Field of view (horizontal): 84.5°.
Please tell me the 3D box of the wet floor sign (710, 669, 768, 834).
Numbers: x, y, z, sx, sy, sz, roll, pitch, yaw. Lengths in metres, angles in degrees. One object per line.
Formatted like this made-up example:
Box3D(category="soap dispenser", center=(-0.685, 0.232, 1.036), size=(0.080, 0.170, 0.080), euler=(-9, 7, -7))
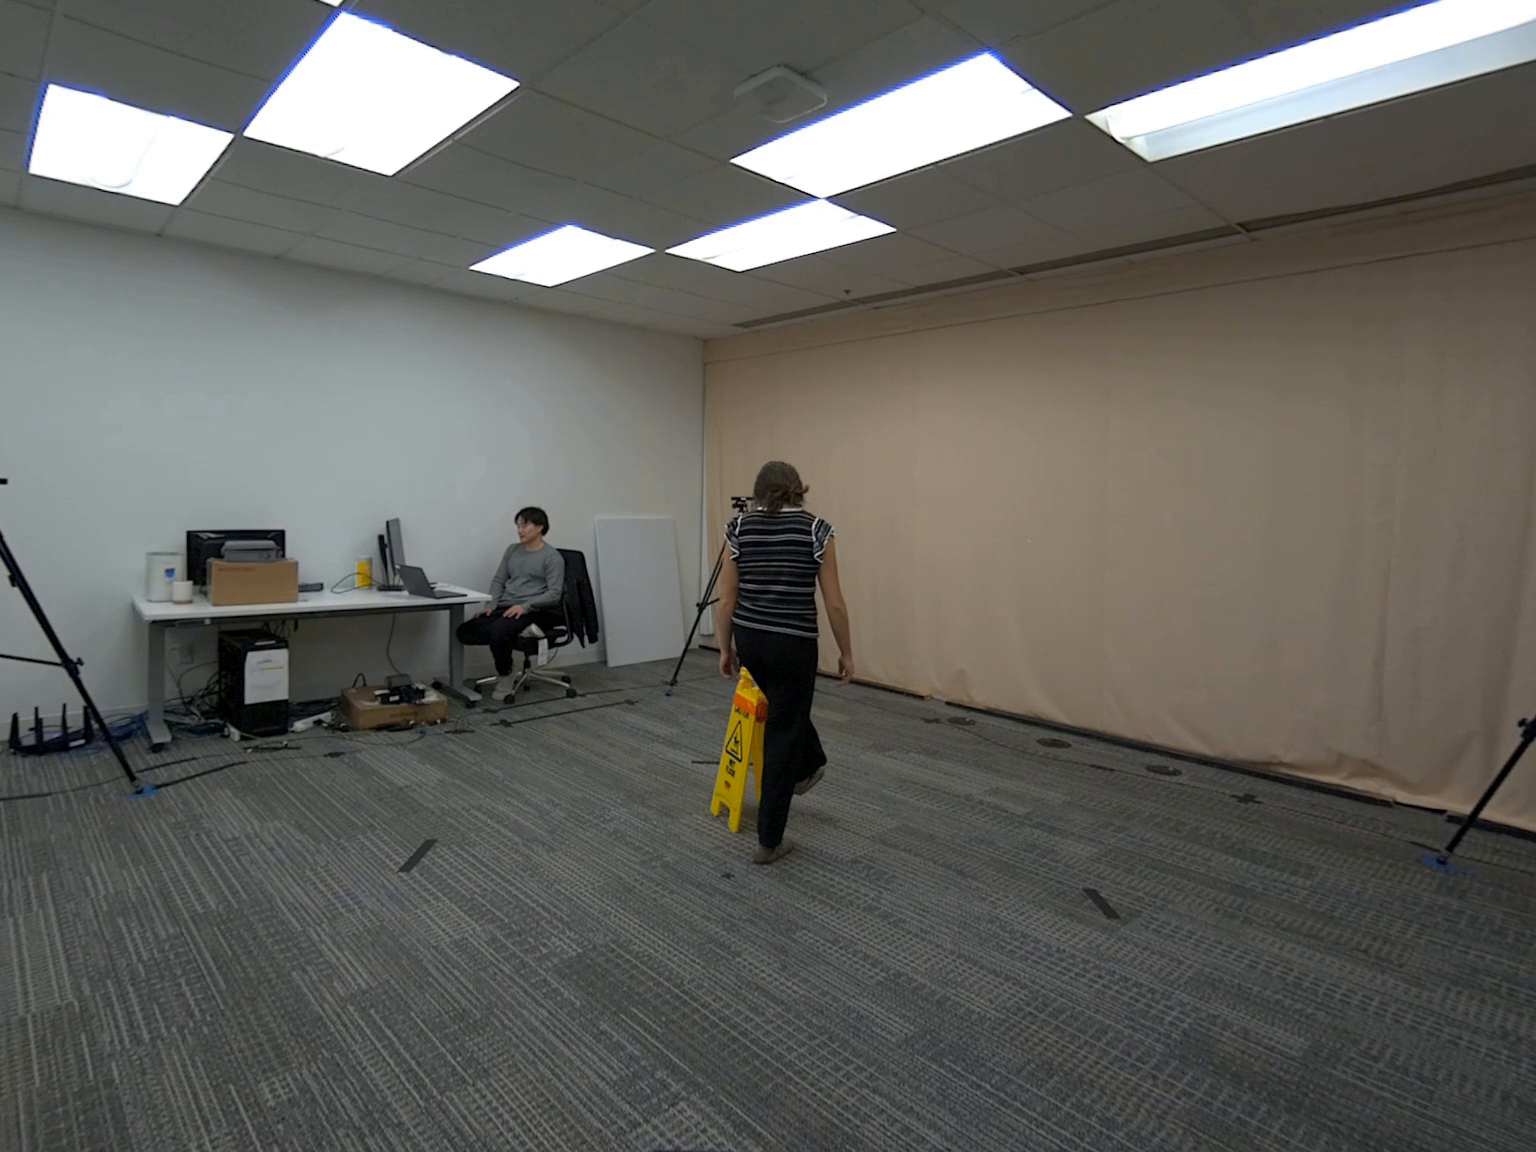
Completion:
Box3D(category="wet floor sign", center=(-0.083, 0.733, 3.665), size=(0.285, 0.644, 0.288), euler=(0, 3, -24))
